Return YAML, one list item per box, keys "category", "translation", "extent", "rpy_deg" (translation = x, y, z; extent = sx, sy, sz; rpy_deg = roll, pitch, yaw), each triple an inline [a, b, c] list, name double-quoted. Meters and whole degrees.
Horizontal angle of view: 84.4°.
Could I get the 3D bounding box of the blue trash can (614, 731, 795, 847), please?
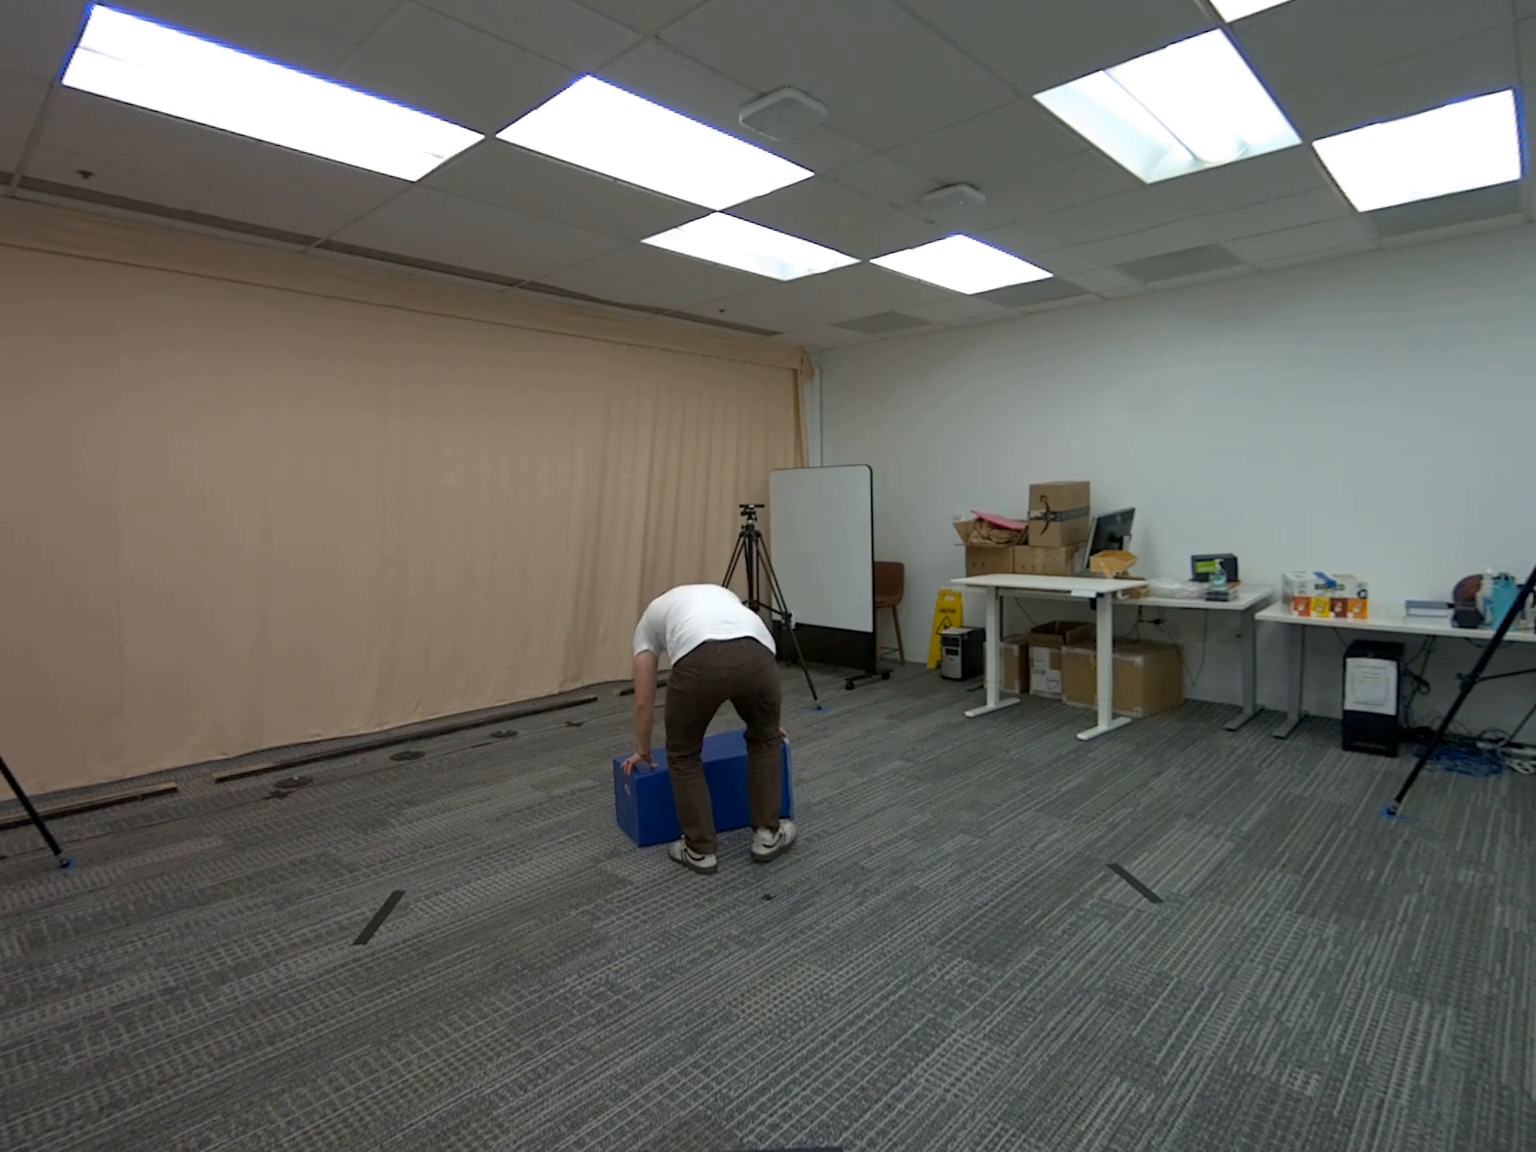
- category: "blue trash can"
  translation: [-0.292, 0.914, 3.714]
  extent: [0.698, 0.376, 0.384]
  rpy_deg: [-5, 7, -24]
